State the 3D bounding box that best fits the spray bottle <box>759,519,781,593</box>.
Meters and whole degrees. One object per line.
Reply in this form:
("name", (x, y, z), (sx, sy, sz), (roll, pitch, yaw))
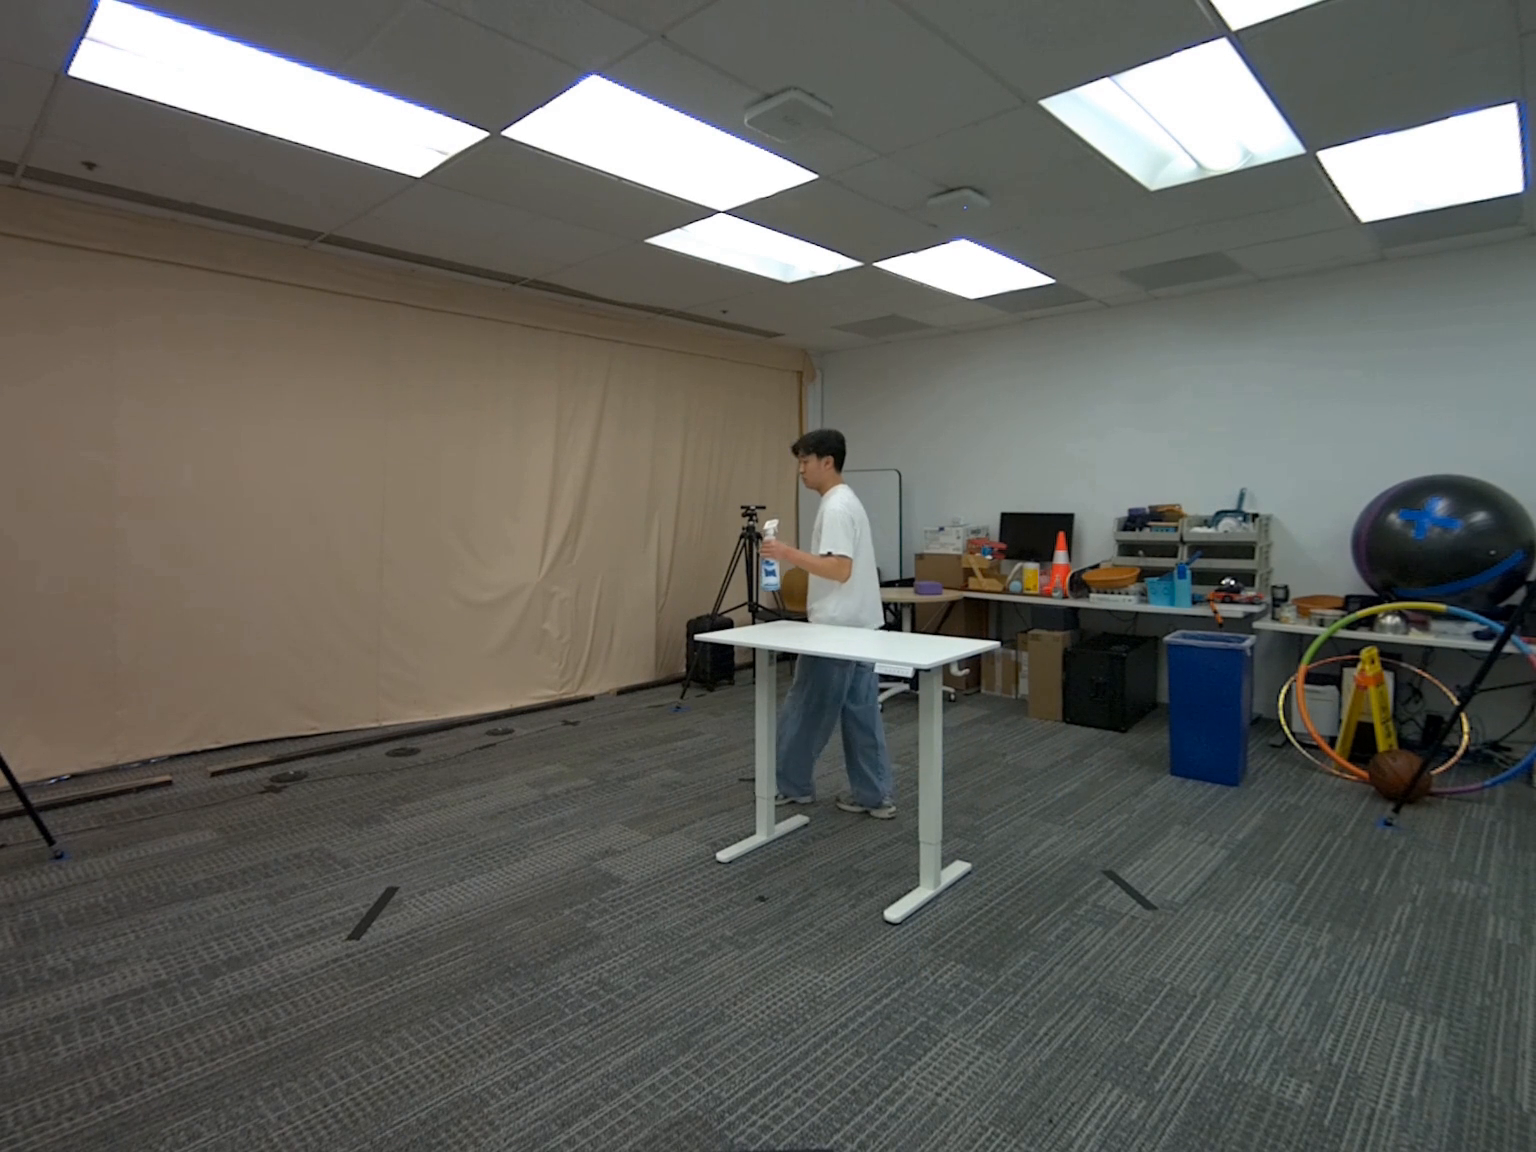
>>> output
("spray bottle", (0.015, -0.084, 3.616), (0.088, 0.295, 0.090), (-5, 13, -26))
